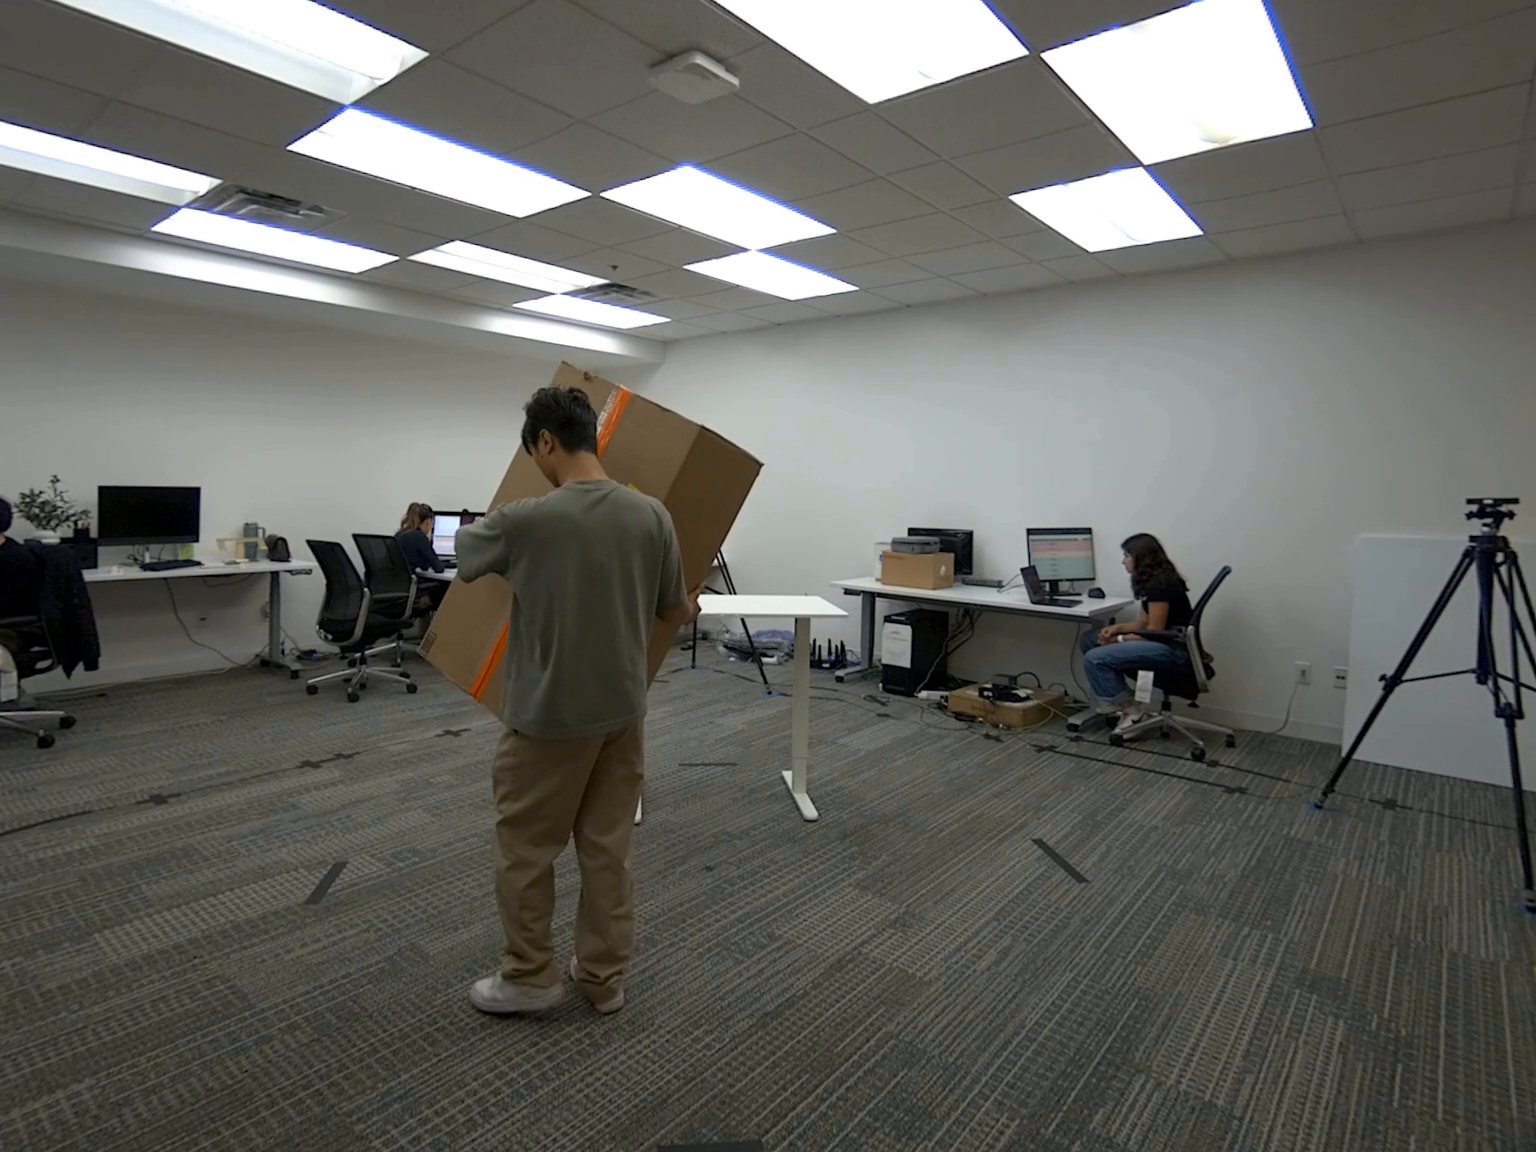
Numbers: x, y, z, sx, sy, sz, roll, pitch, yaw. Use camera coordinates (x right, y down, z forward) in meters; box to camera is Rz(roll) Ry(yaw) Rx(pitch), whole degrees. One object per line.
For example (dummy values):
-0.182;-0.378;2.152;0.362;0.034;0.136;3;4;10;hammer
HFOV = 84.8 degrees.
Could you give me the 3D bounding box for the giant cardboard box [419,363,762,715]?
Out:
-0.569;-0.058;2.668;0.598;1.024;0.412;29;4;27;giant cardboard box
